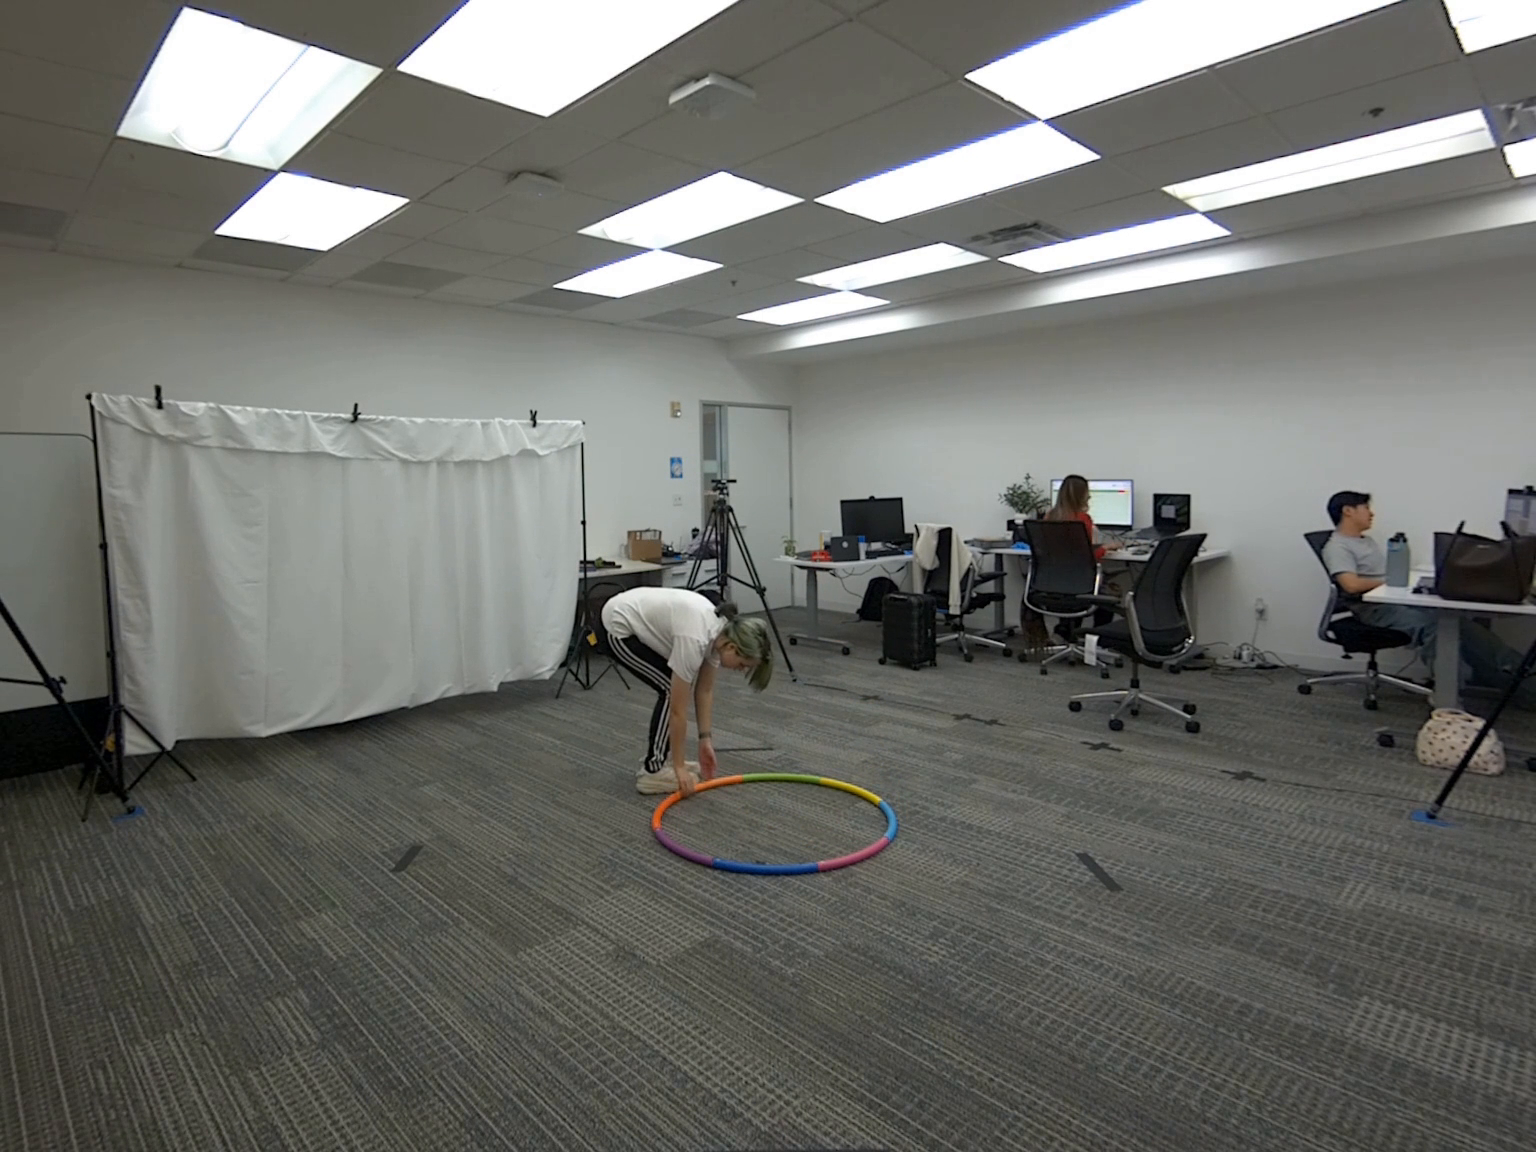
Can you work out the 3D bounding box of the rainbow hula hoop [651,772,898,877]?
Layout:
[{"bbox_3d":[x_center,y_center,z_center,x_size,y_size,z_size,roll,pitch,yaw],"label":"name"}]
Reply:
[{"bbox_3d":[0.021,0.974,3.486,0.978,0.035,0.984,-1,7,-2],"label":"rainbow hula hoop"}]
